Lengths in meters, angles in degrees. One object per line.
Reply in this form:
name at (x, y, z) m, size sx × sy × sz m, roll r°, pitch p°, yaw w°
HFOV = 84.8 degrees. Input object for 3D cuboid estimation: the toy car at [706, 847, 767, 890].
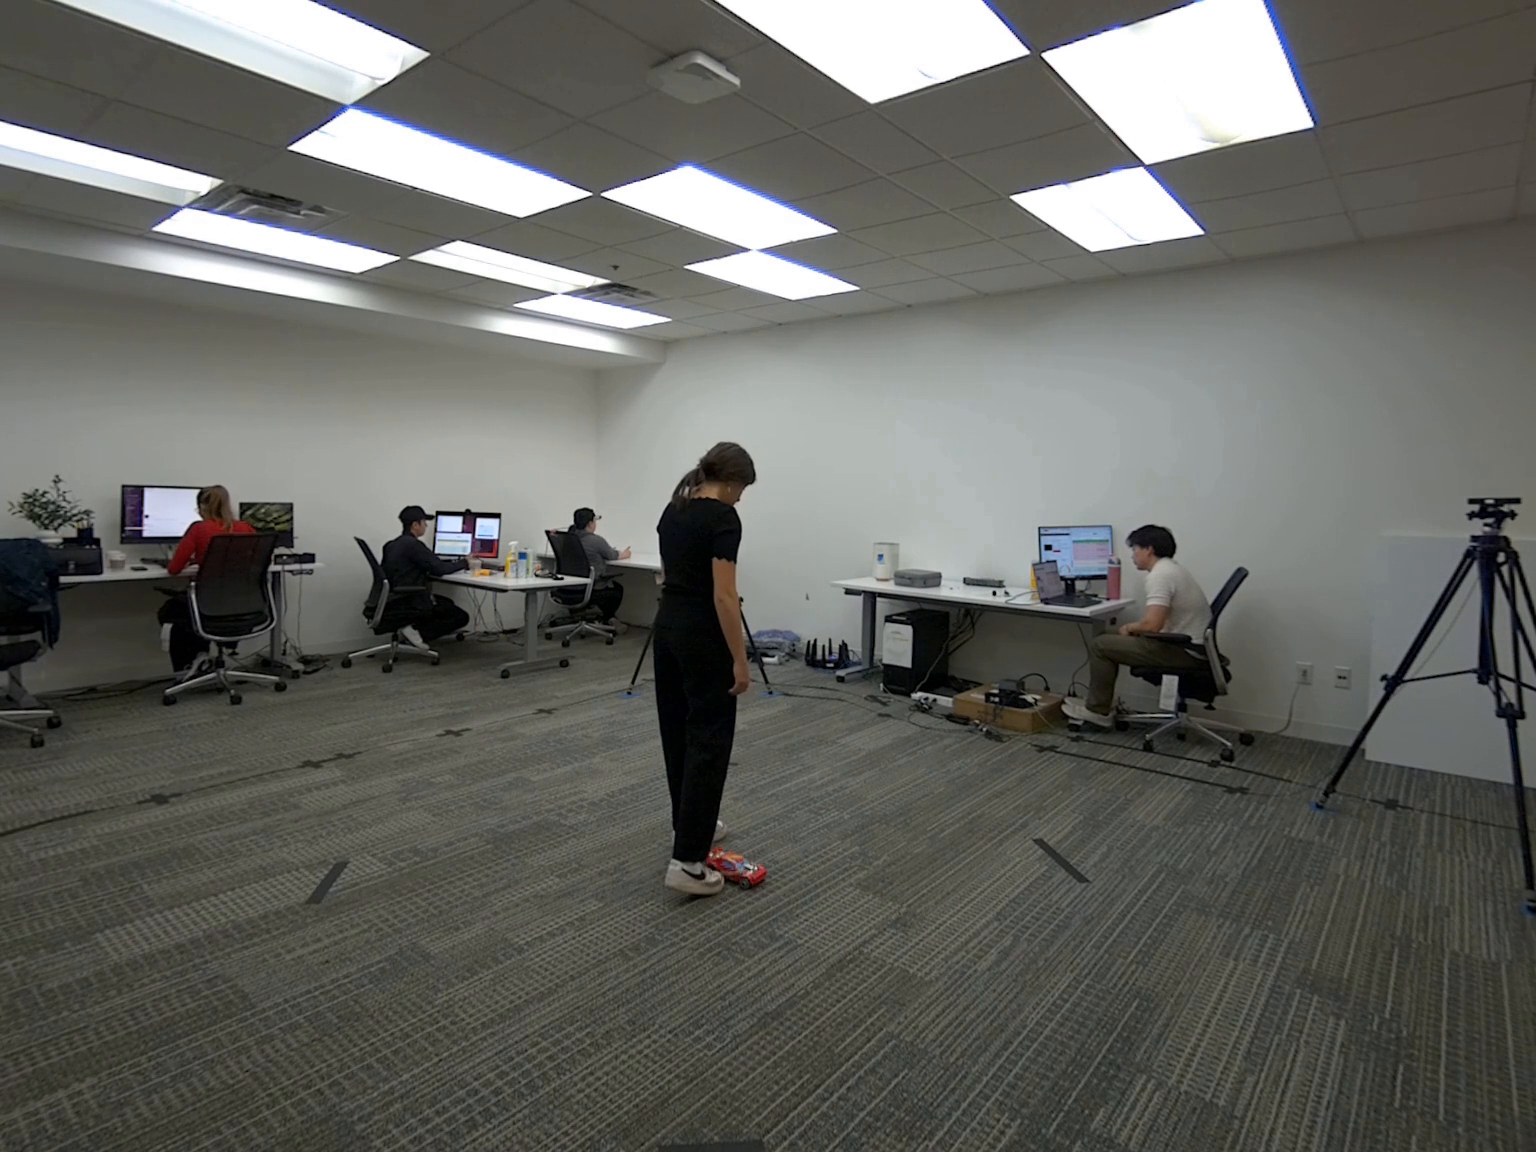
toy car at (-0.141, 1.040, 3.047) m, size 0.264 × 0.082 × 0.127 m, roll 17°, pitch 13°, yaw 32°
